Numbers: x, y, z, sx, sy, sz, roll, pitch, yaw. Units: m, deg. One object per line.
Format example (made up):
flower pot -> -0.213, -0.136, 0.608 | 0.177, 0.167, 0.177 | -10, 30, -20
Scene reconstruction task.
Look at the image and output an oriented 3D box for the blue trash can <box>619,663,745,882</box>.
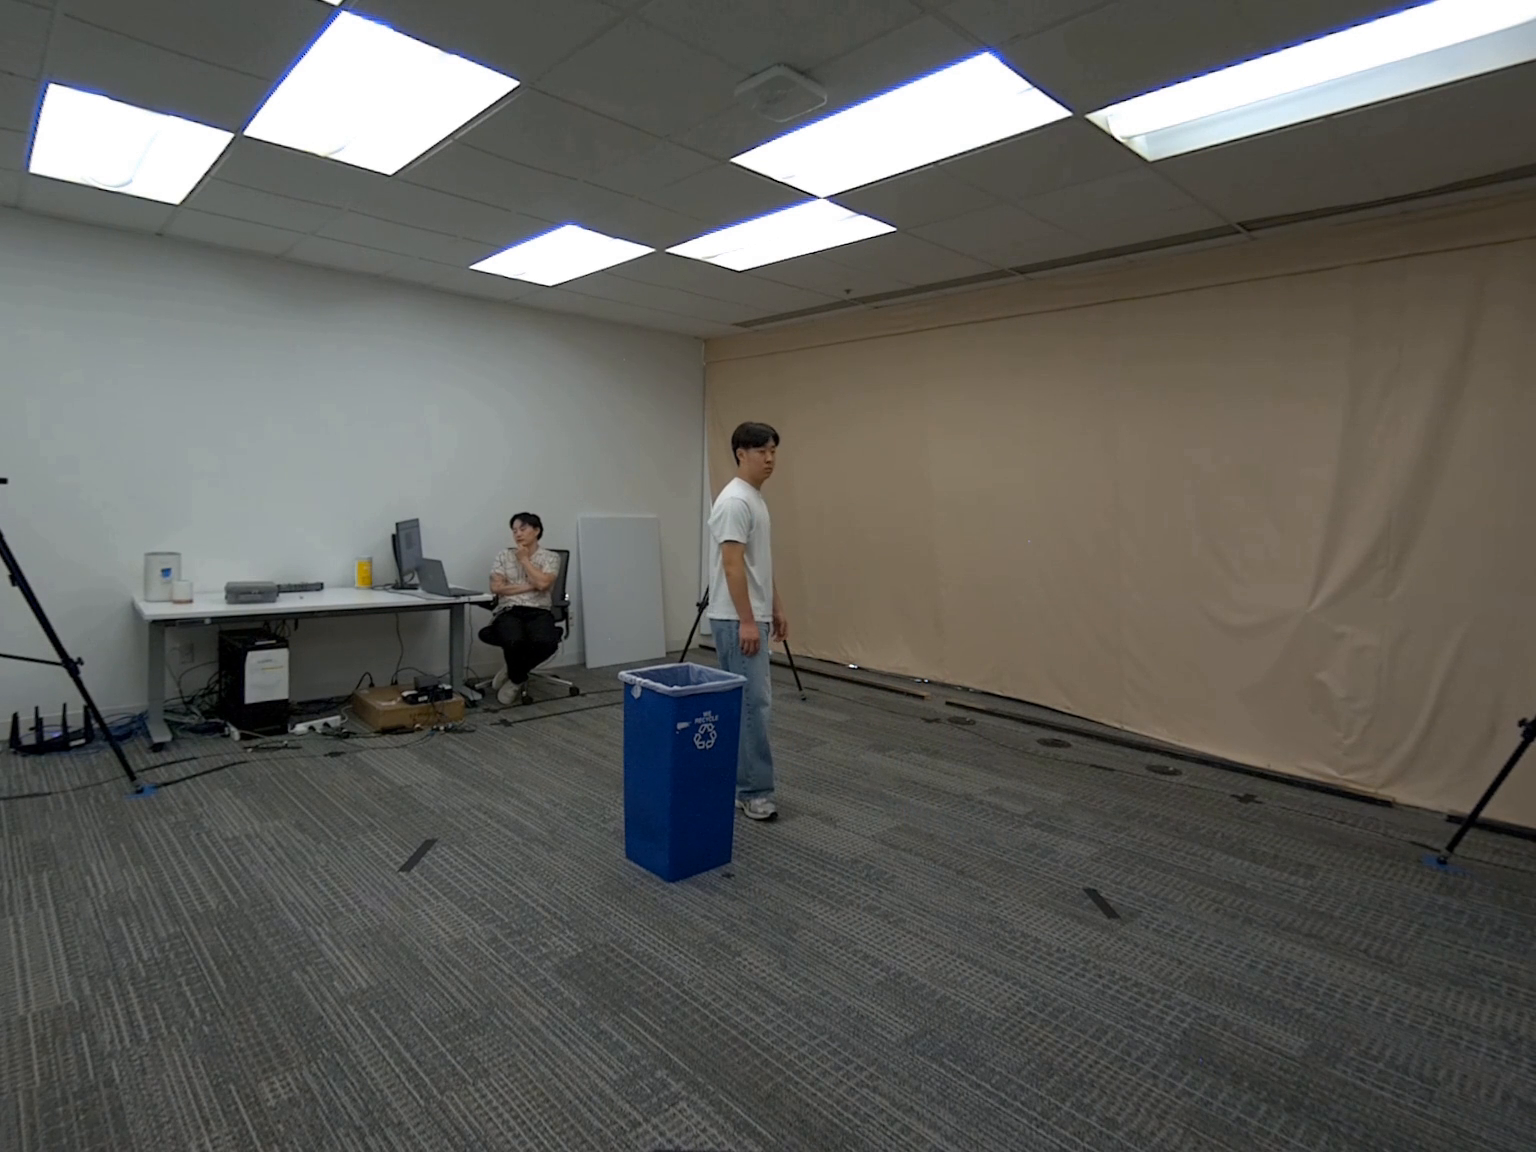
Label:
blue trash can -> -0.339, 0.733, 3.227 | 0.365, 0.712, 0.388 | -2, 5, -43
